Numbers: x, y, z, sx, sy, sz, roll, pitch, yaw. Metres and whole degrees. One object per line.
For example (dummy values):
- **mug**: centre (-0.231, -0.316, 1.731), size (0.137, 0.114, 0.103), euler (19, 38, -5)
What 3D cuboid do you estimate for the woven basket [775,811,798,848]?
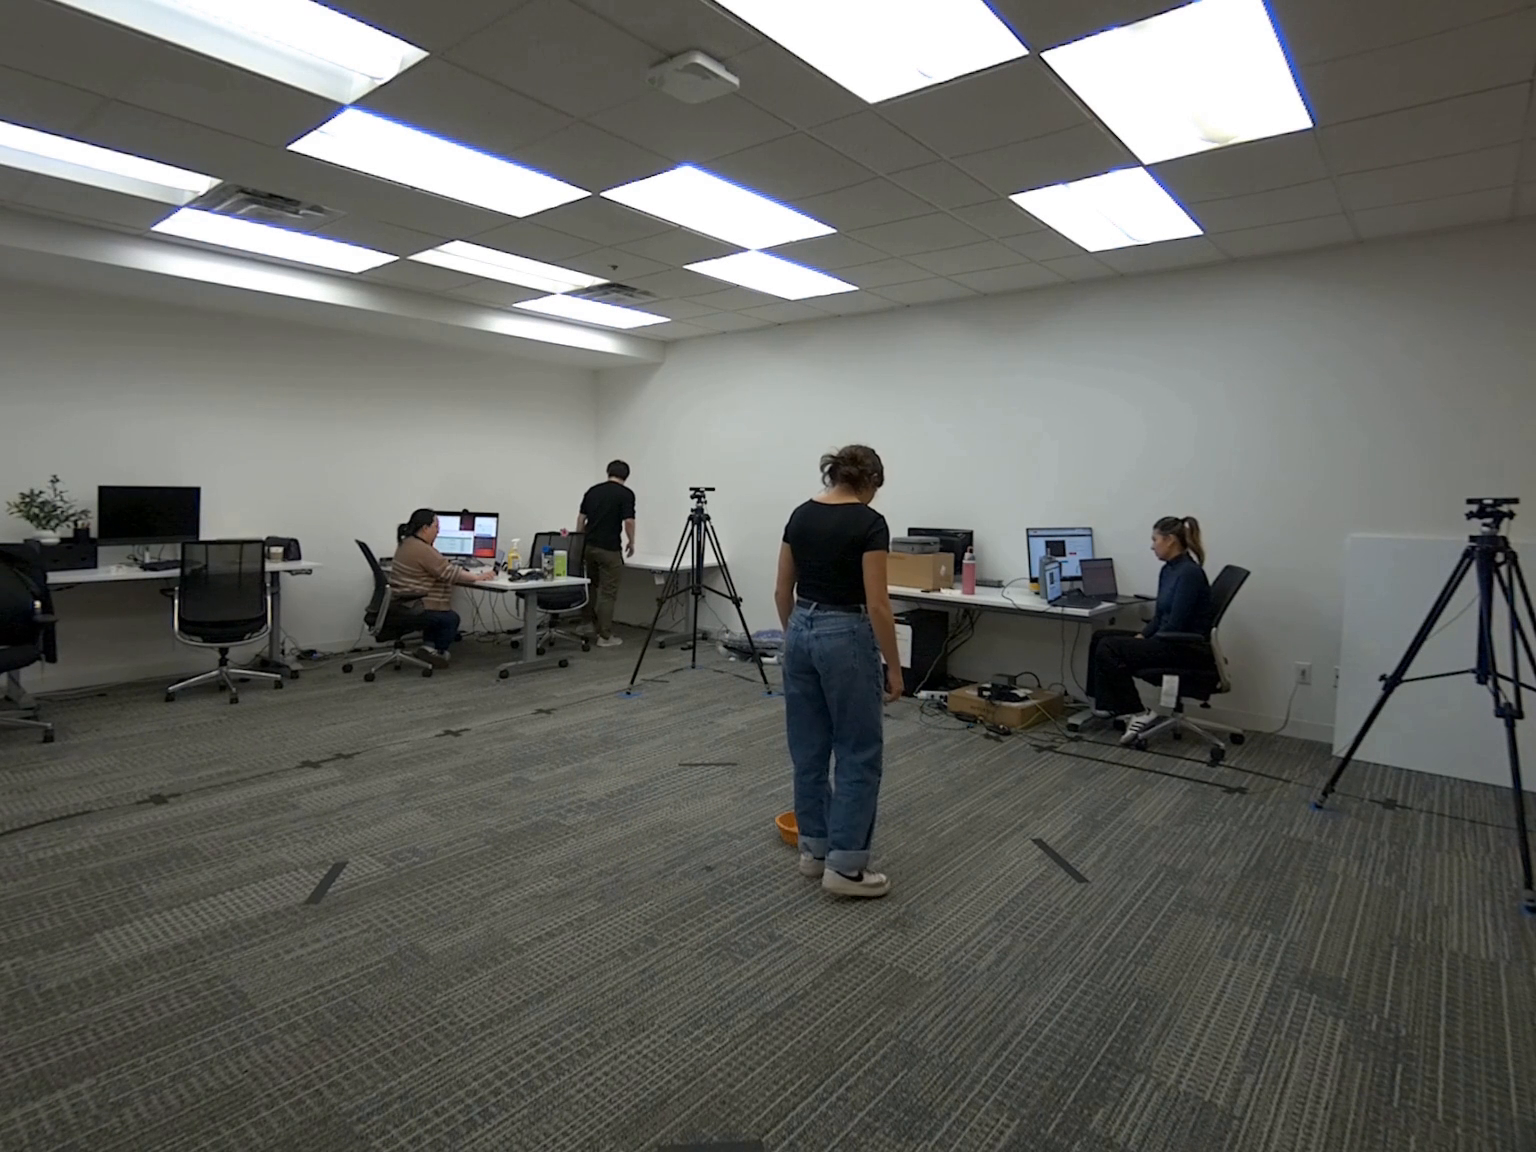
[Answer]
- **woven basket**: centre (0.184, 1.003, 3.368), size (0.361, 0.073, 0.245), euler (4, 5, 33)
